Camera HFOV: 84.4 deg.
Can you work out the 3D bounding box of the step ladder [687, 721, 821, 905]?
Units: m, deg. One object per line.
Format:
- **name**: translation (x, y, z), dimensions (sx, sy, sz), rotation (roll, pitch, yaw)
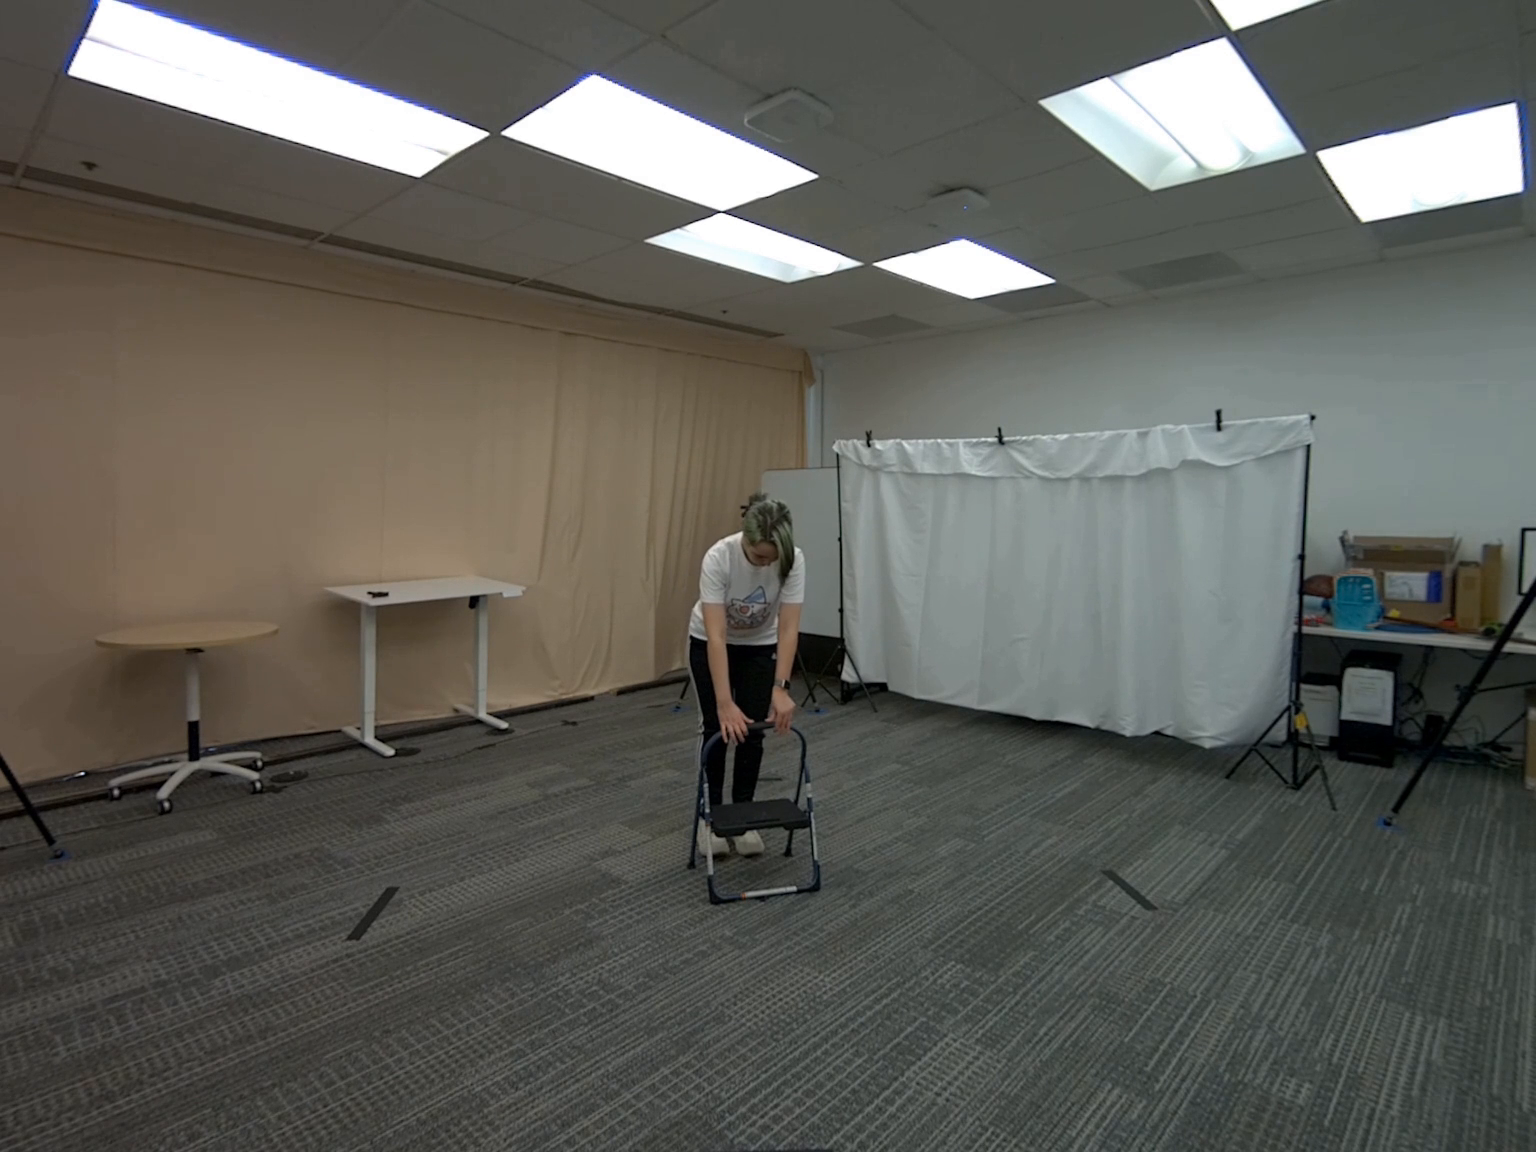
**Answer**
- **step ladder**: translation (-0.054, 0.830, 3.138), dimensions (0.423, 0.605, 0.356), rotation (-2, 3, -17)
